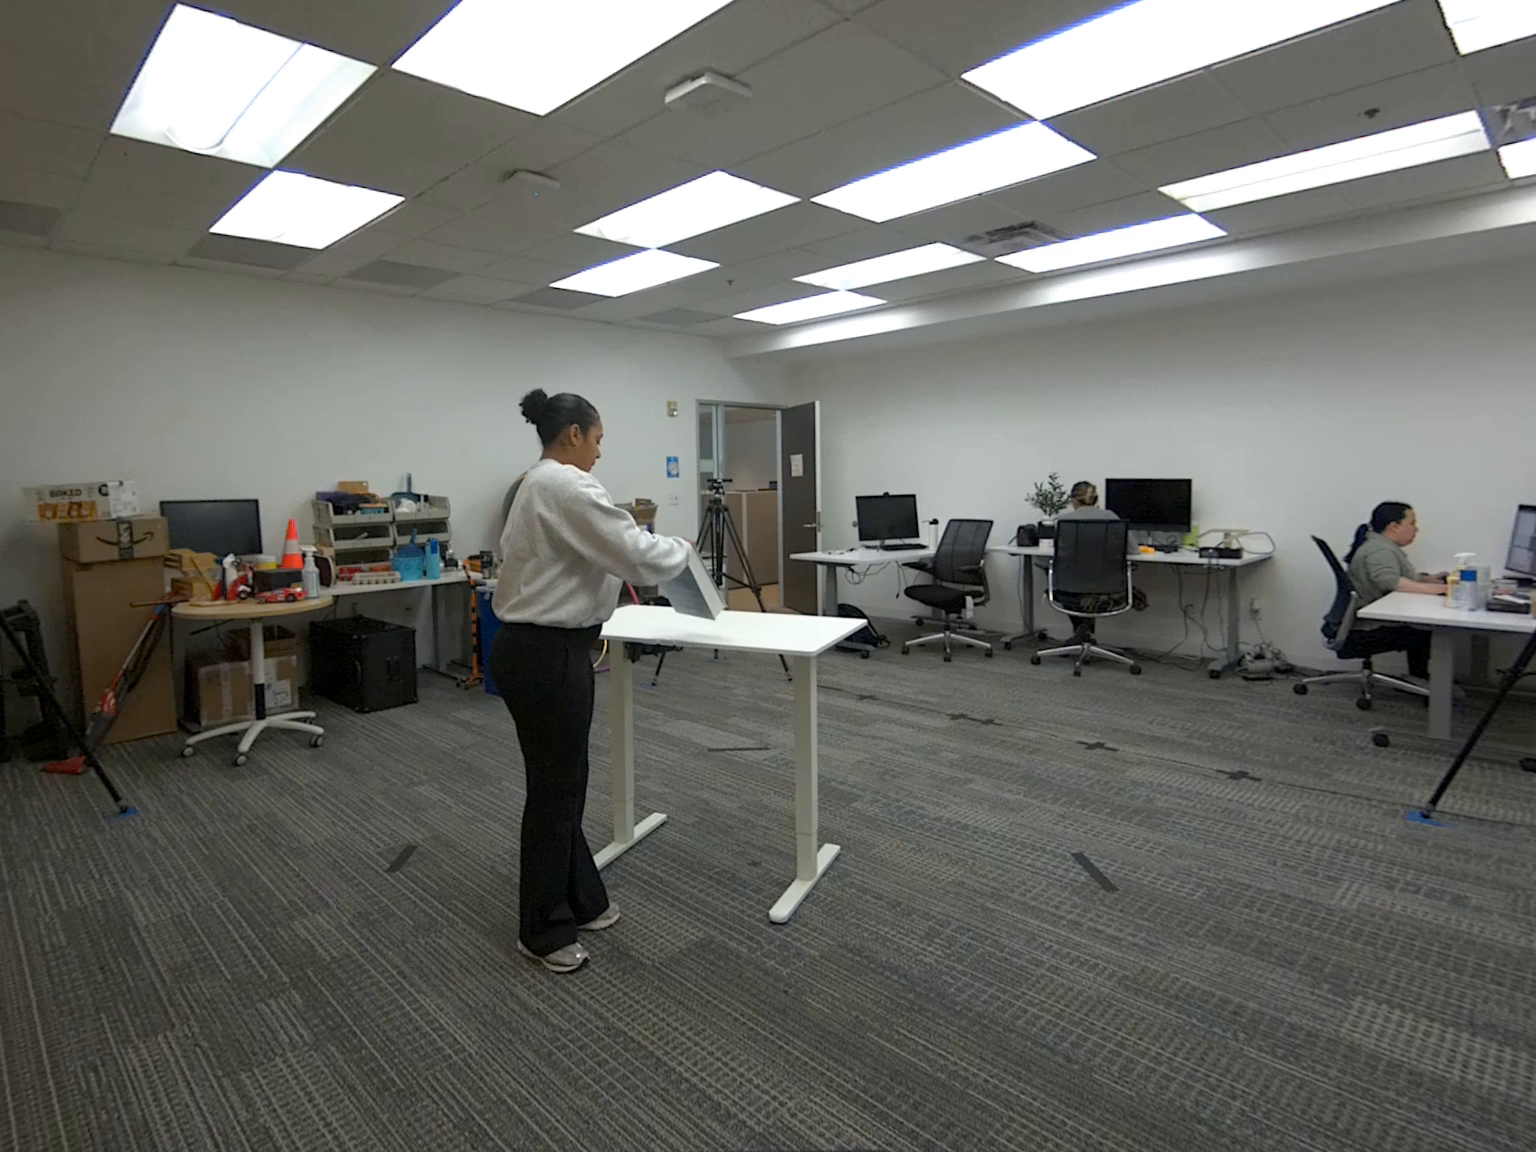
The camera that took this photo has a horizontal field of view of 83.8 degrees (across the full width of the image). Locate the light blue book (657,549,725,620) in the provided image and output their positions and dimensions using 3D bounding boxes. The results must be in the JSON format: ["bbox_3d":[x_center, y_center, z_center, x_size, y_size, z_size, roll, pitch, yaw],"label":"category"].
[{"bbox_3d":[-0.268,0.023,2.731,0.197,0.253,0.059,6,41,43],"label":"light blue book"}]
